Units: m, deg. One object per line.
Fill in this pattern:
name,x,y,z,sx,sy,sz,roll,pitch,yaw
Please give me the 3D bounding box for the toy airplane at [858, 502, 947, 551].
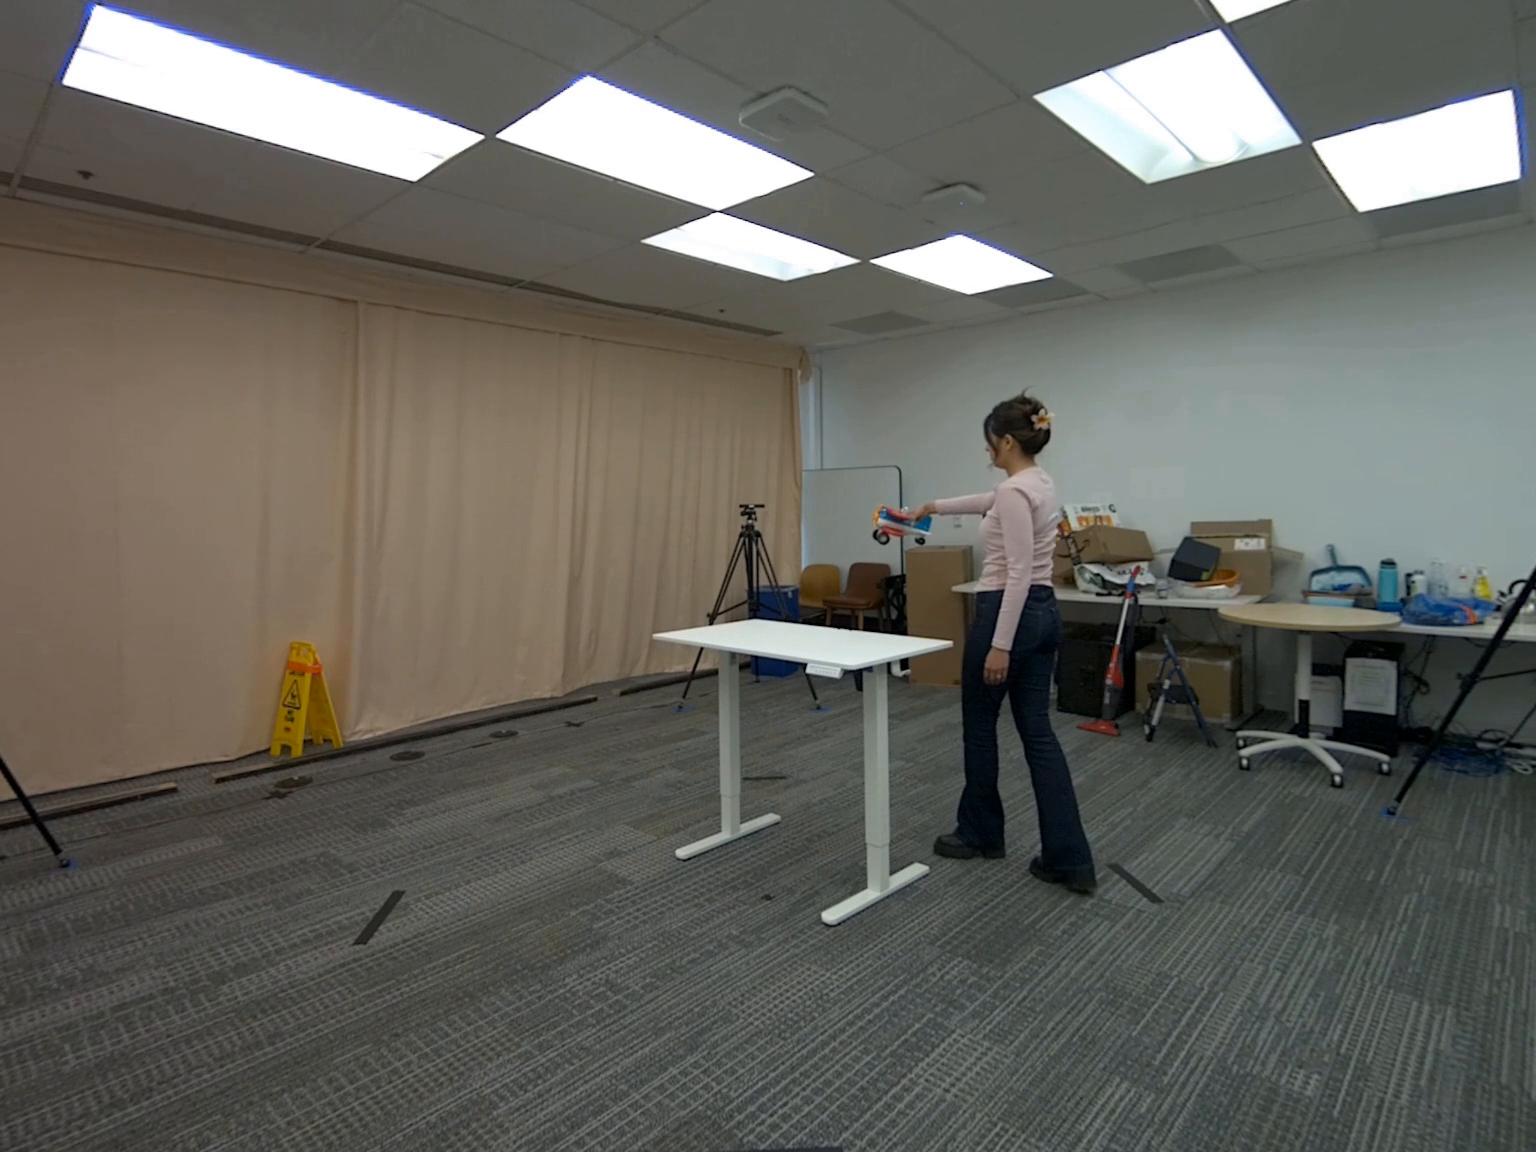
toy airplane,0.582,-0.223,3.699,0.252,0.155,0.259,-5,15,-30
